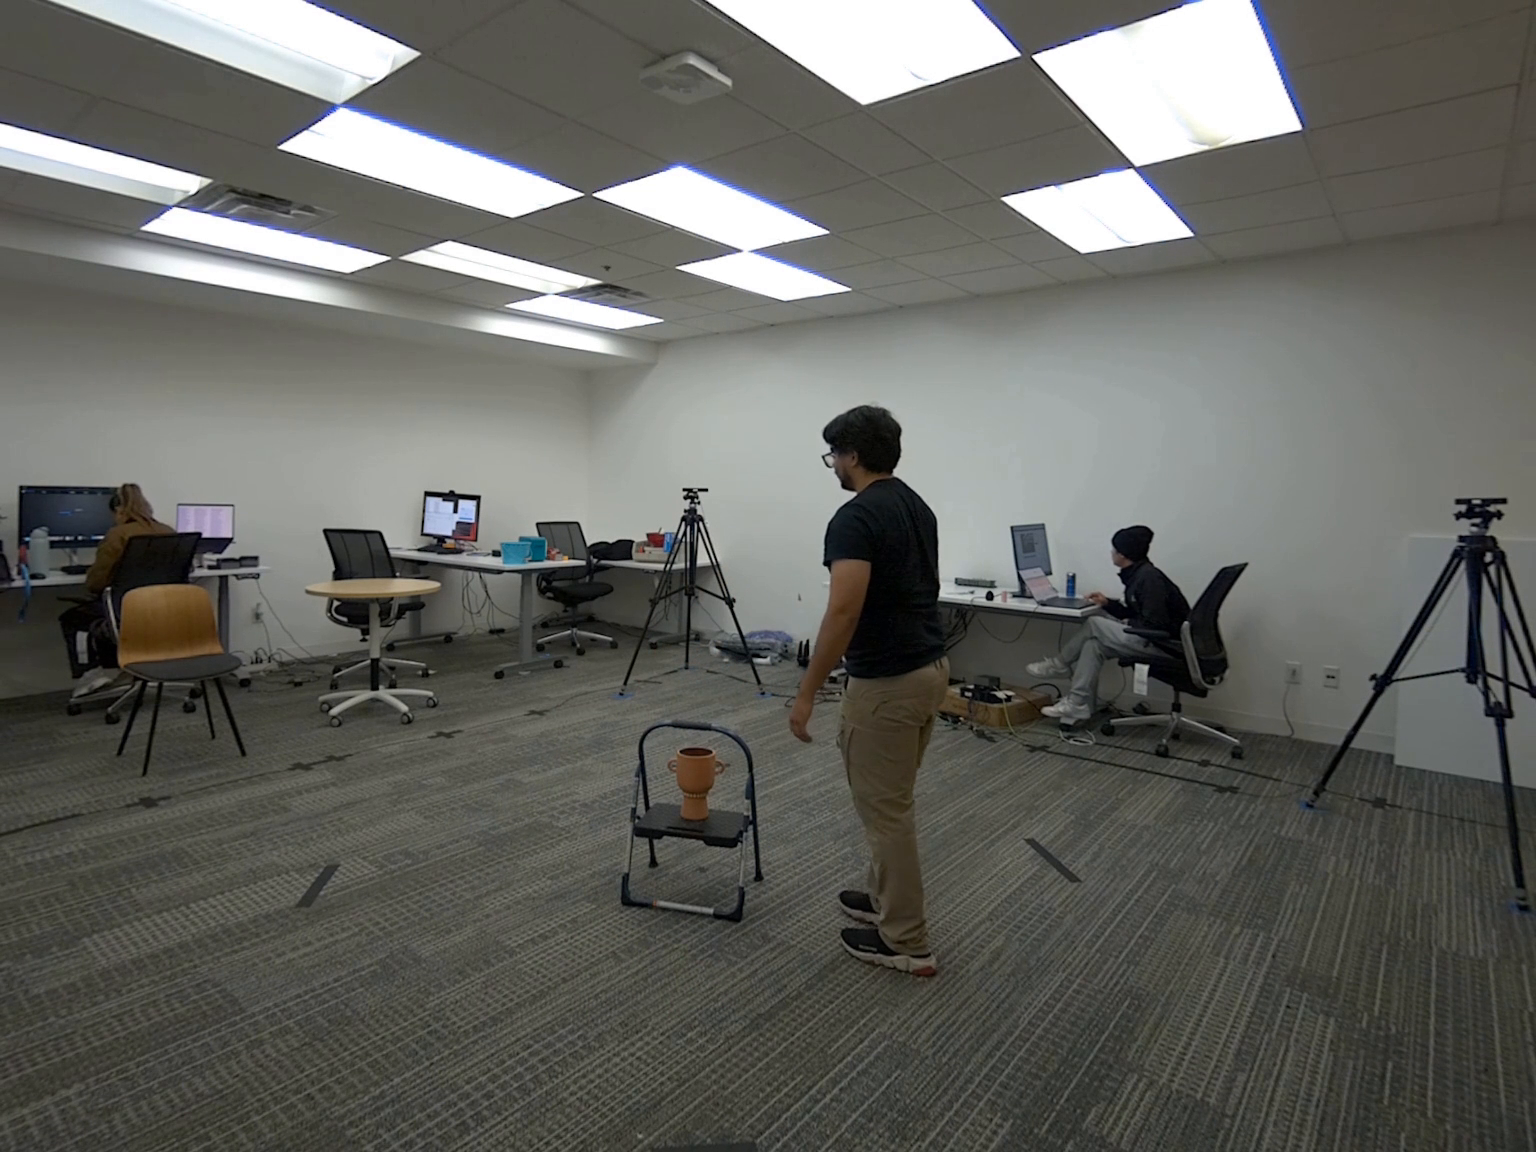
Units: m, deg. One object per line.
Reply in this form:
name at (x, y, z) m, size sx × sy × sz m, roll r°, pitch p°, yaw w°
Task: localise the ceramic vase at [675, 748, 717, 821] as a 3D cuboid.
ceramic vase at (-0.258, 0.714, 2.937) m, size 0.164 × 0.219 × 0.130 m, roll 3°, pitch 2°, yaw 37°
